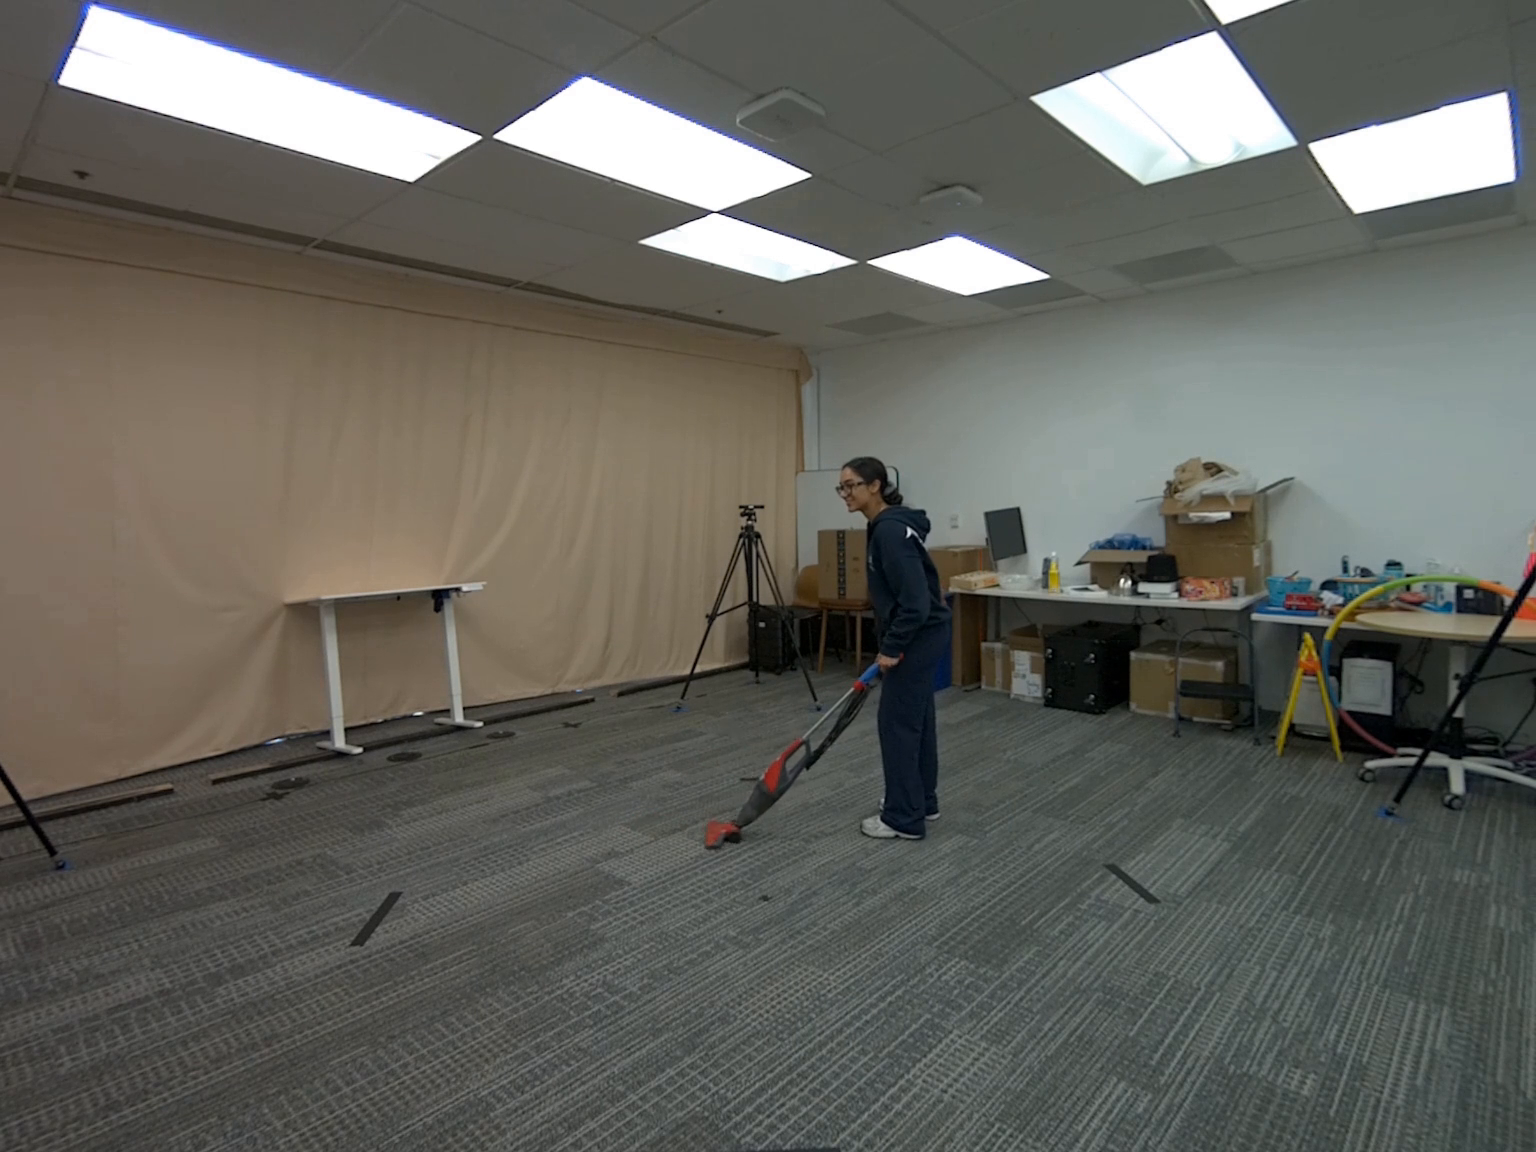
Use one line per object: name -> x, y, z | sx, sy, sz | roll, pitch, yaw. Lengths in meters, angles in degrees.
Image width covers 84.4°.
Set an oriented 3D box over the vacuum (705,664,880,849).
vacuum -> 0.160, 0.716, 3.503 | 0.143, 1.050, 0.254 | 44, 4, -7
